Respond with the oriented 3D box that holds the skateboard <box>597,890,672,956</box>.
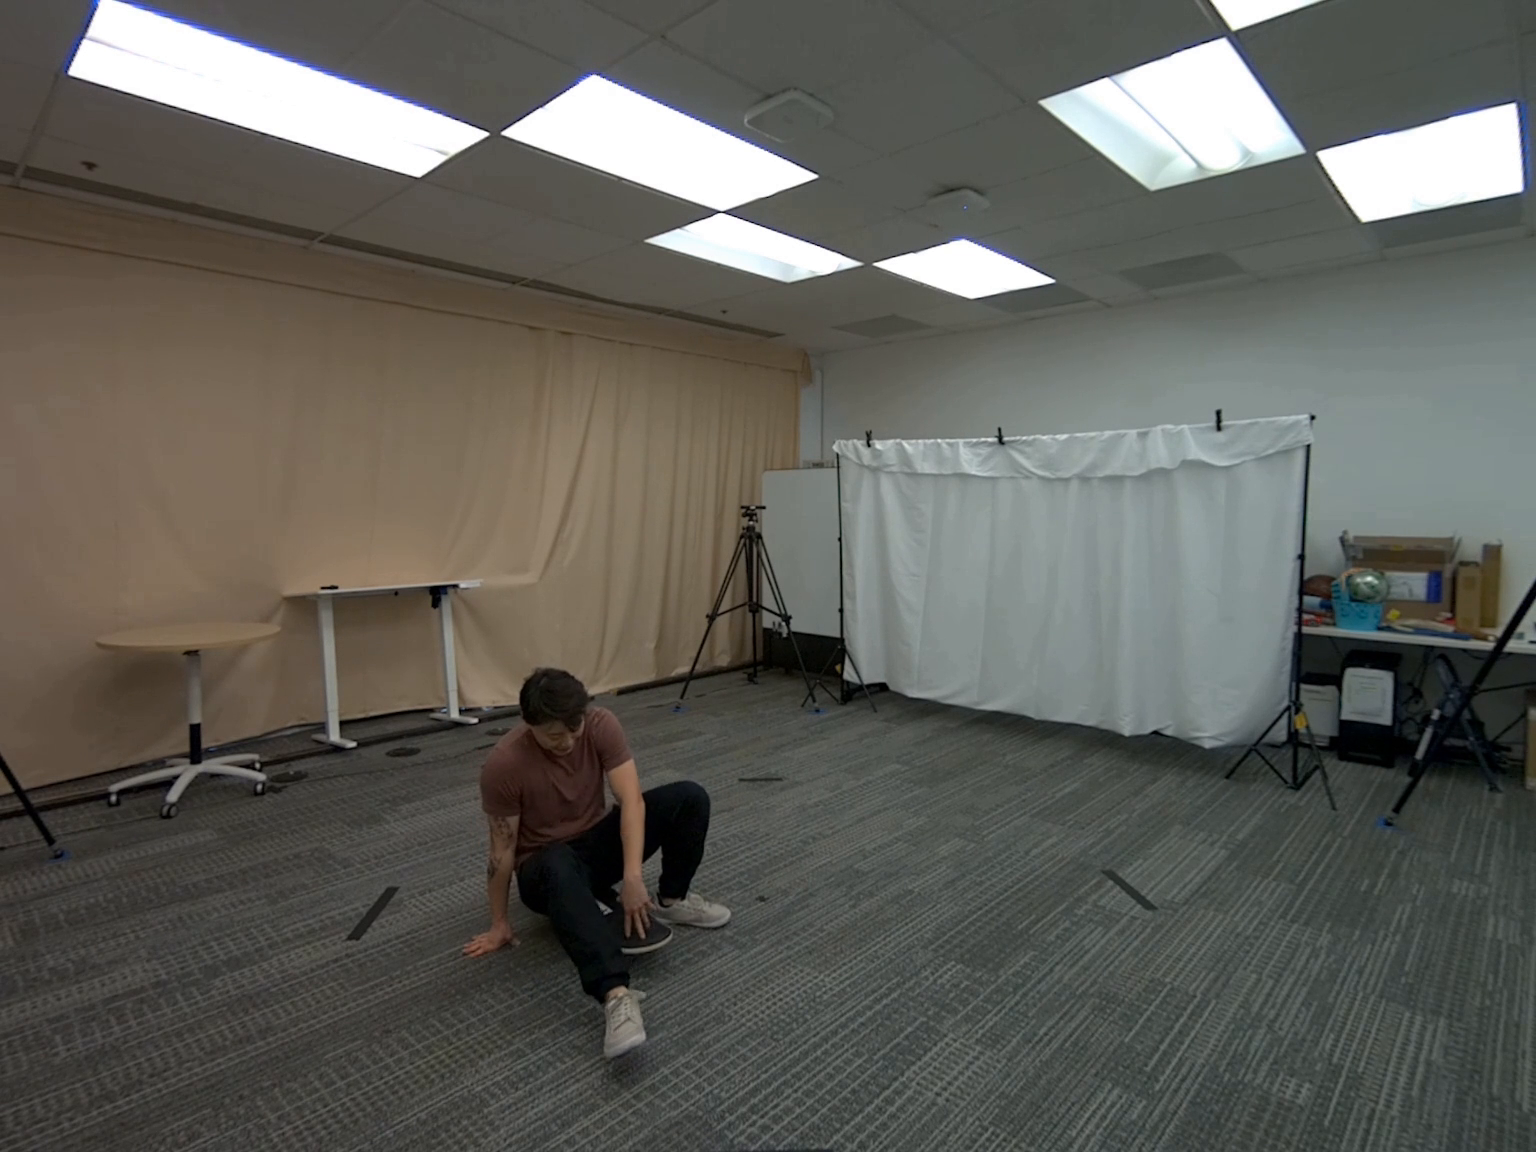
[{"bbox_3d":[-0.576,1.114,2.765,0.188,0.110,0.811,-8,8,-41],"label":"skateboard"}]
